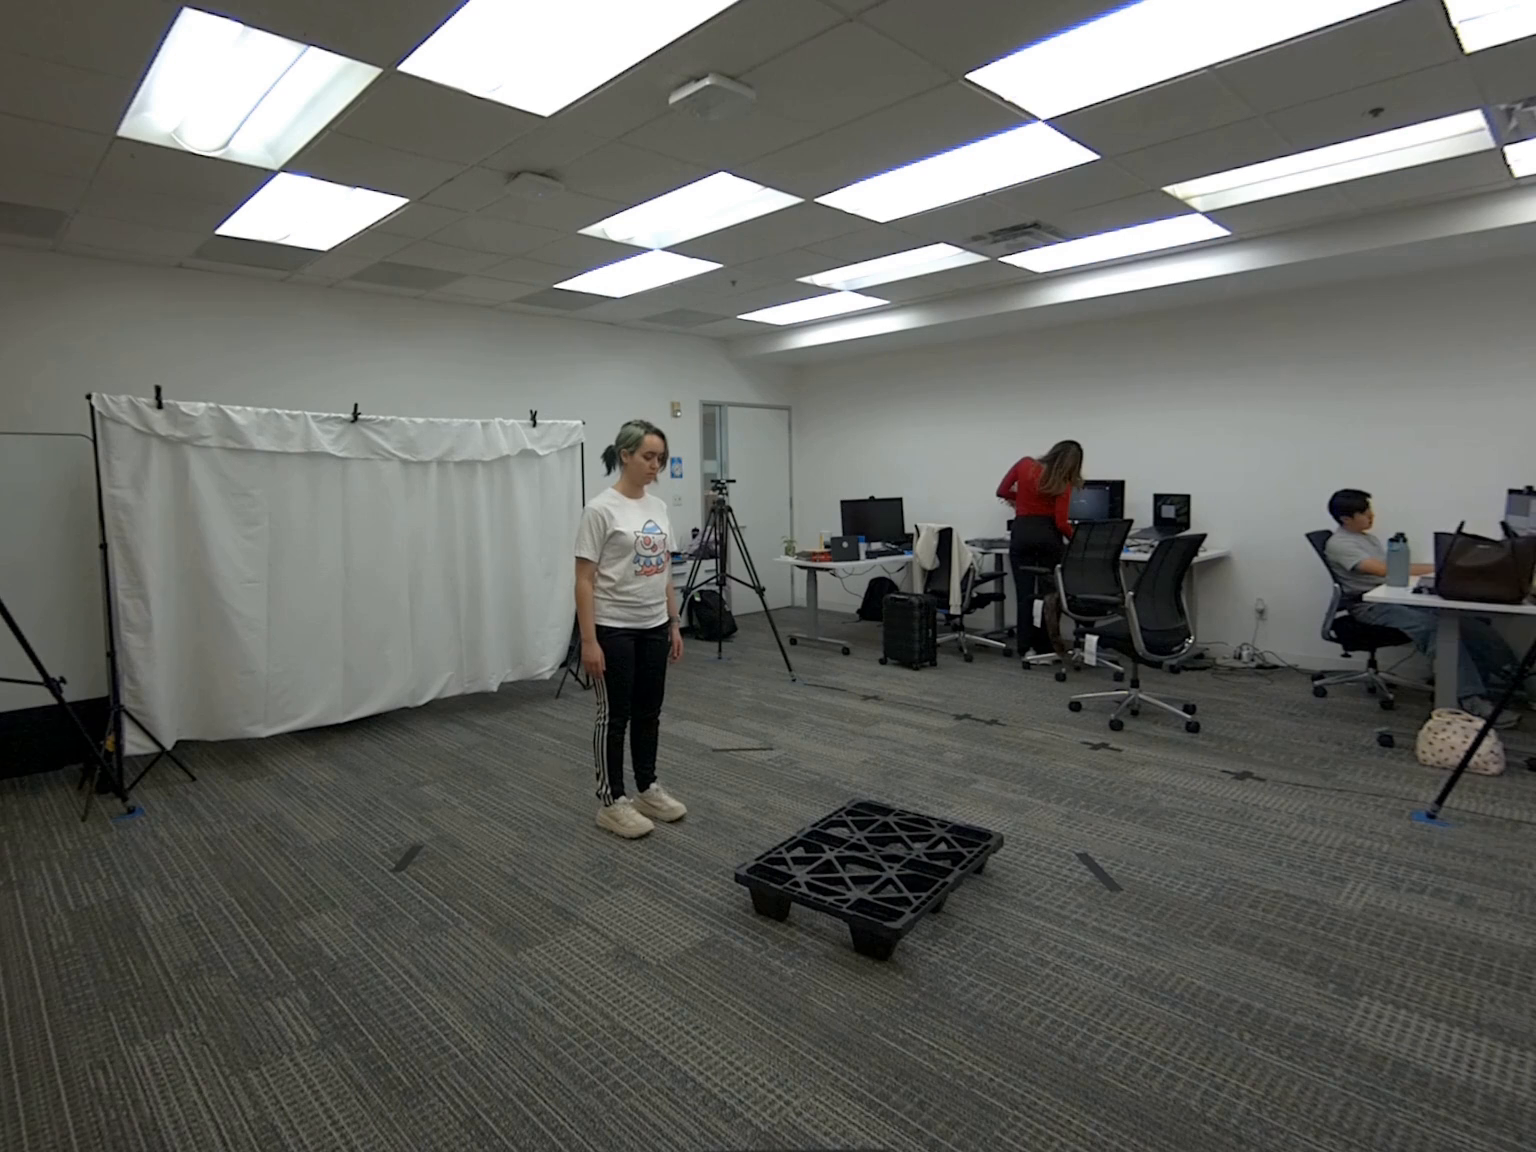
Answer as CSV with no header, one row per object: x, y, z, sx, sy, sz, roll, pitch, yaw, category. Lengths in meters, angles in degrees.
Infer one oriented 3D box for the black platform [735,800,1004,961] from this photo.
0.367,0.997,2.888,0.623,0.142,0.786,4,9,37,black platform
